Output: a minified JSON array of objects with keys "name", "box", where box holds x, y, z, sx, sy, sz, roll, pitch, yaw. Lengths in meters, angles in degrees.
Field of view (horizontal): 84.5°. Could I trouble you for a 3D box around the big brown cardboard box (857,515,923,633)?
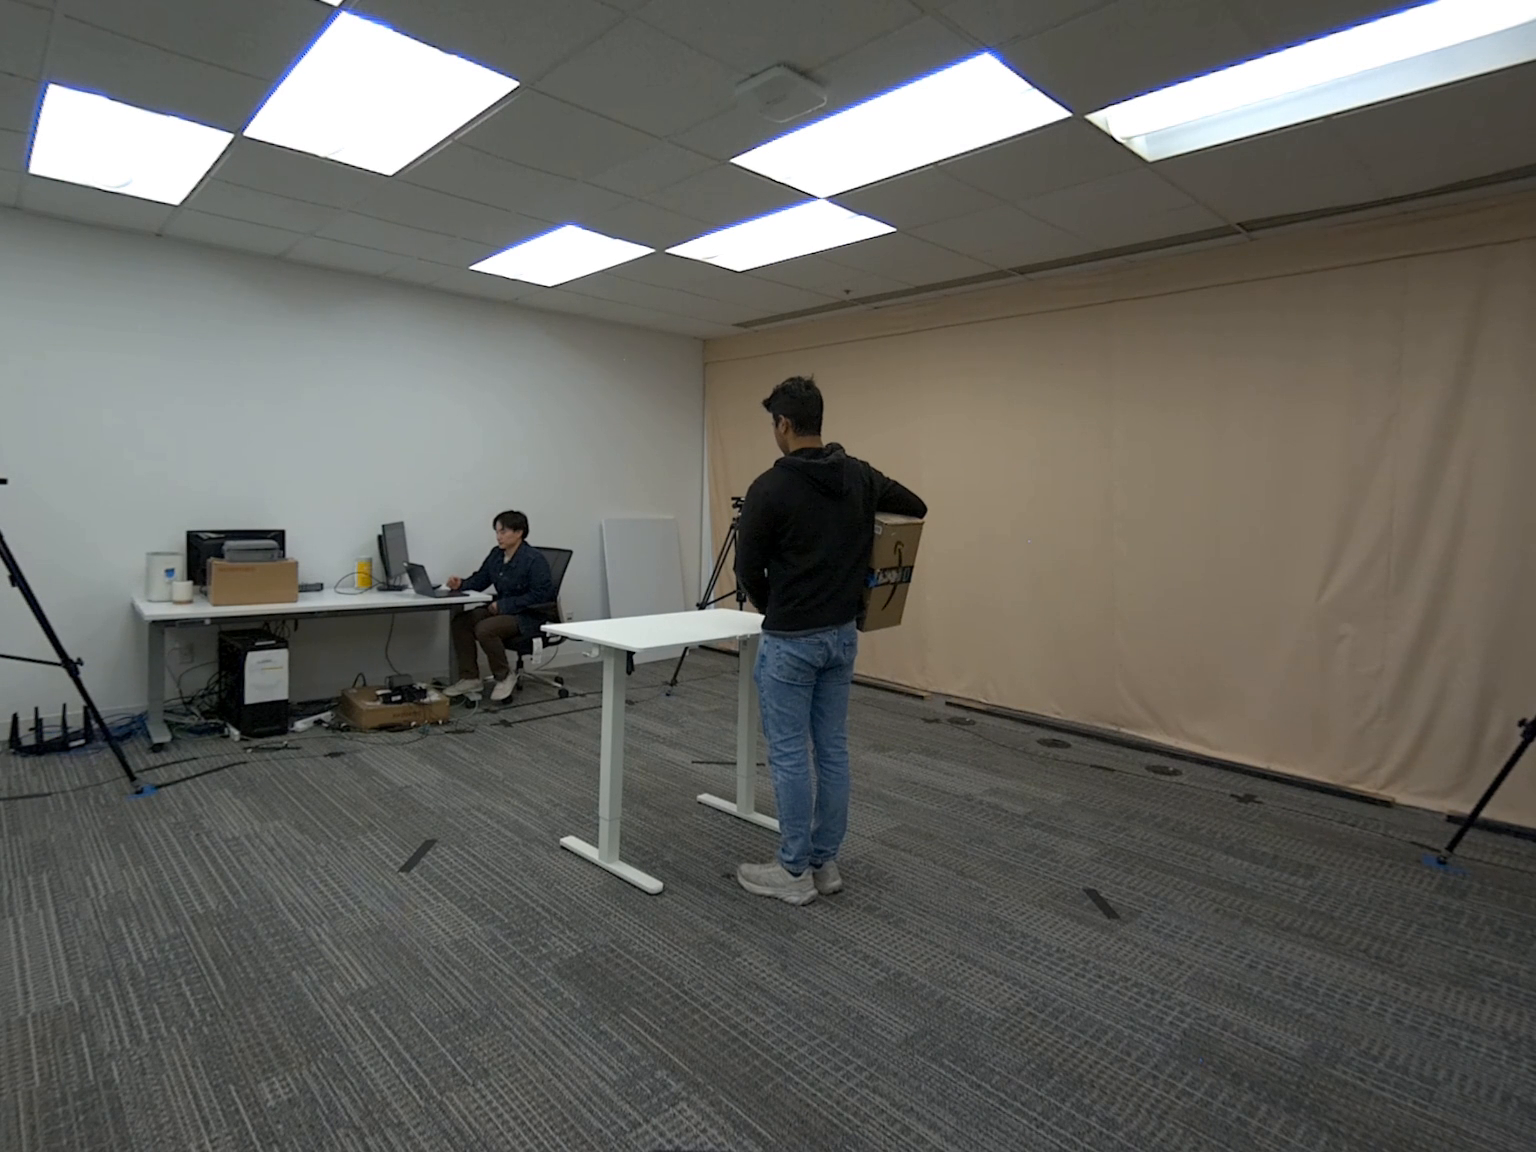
[{"name":"big brown cardboard box","box":[0.270,-0.084,3.227,0.228,0.413,0.607,-4,21,-39]}]
